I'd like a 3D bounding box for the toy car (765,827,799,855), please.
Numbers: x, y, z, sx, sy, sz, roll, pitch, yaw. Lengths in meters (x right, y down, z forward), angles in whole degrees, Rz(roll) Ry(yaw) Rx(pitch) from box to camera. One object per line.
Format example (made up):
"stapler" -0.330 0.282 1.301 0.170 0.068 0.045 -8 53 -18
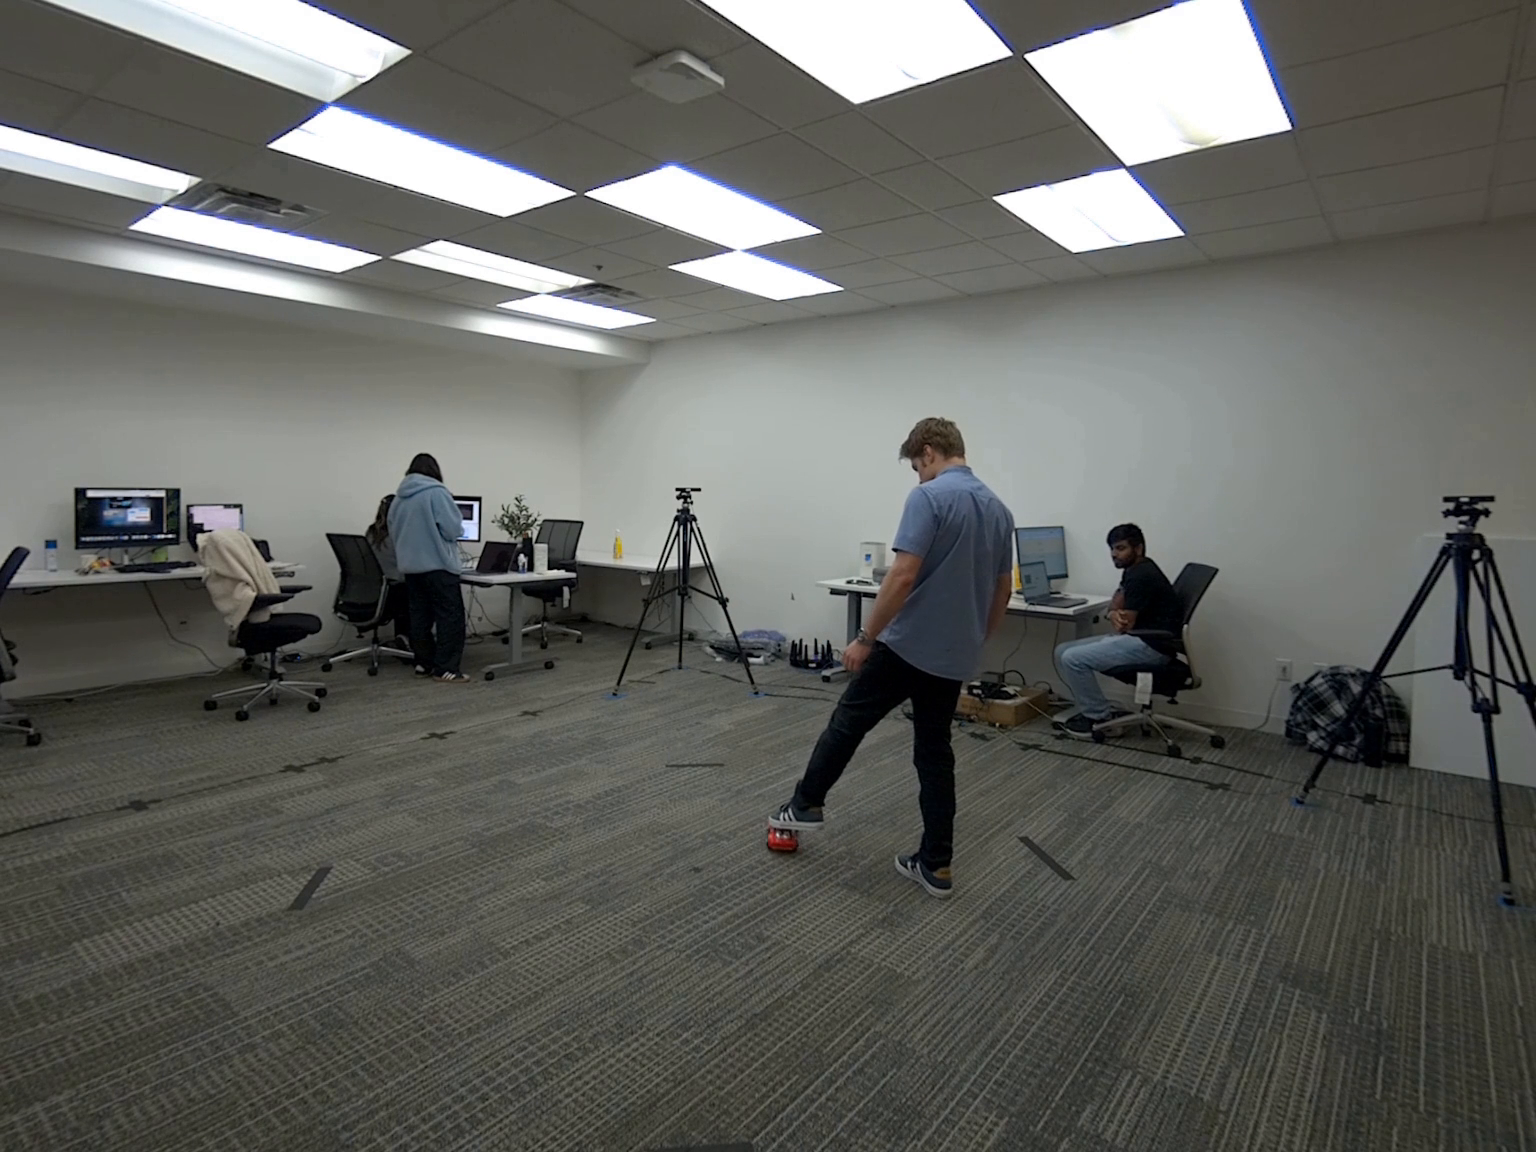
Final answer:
"toy car" 0.054 1.022 3.349 0.131 0.084 0.252 2 -5 1
